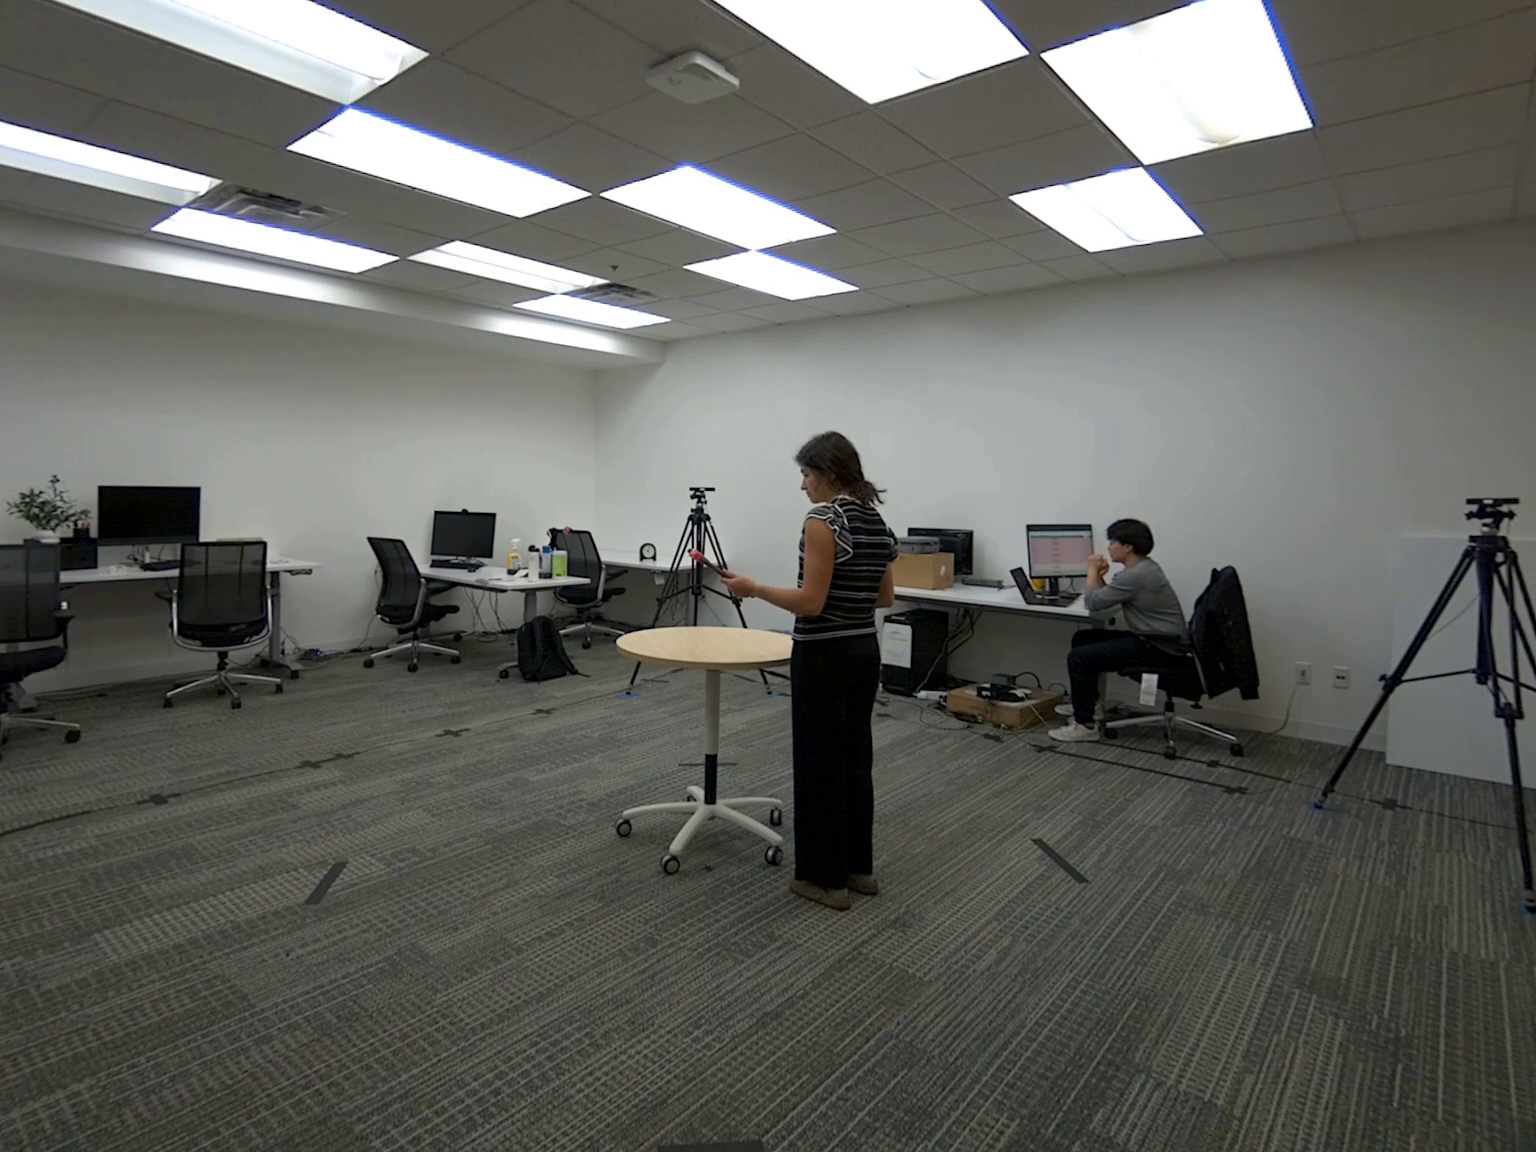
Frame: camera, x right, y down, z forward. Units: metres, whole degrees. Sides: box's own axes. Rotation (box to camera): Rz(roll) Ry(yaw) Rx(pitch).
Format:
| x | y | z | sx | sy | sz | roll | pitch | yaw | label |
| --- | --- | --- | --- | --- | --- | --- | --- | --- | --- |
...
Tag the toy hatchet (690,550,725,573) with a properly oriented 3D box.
| x | y | z | sx | sy | sz | roll | pitch | yaw | label |
| --- | --- | --- | --- | --- | --- | --- | --- | --- | --- |
| -0.167 | -0.024 | 2.923 | 0.266 | 0.029 | 0.133 | 30 | -2 | -11 | toy hatchet |
